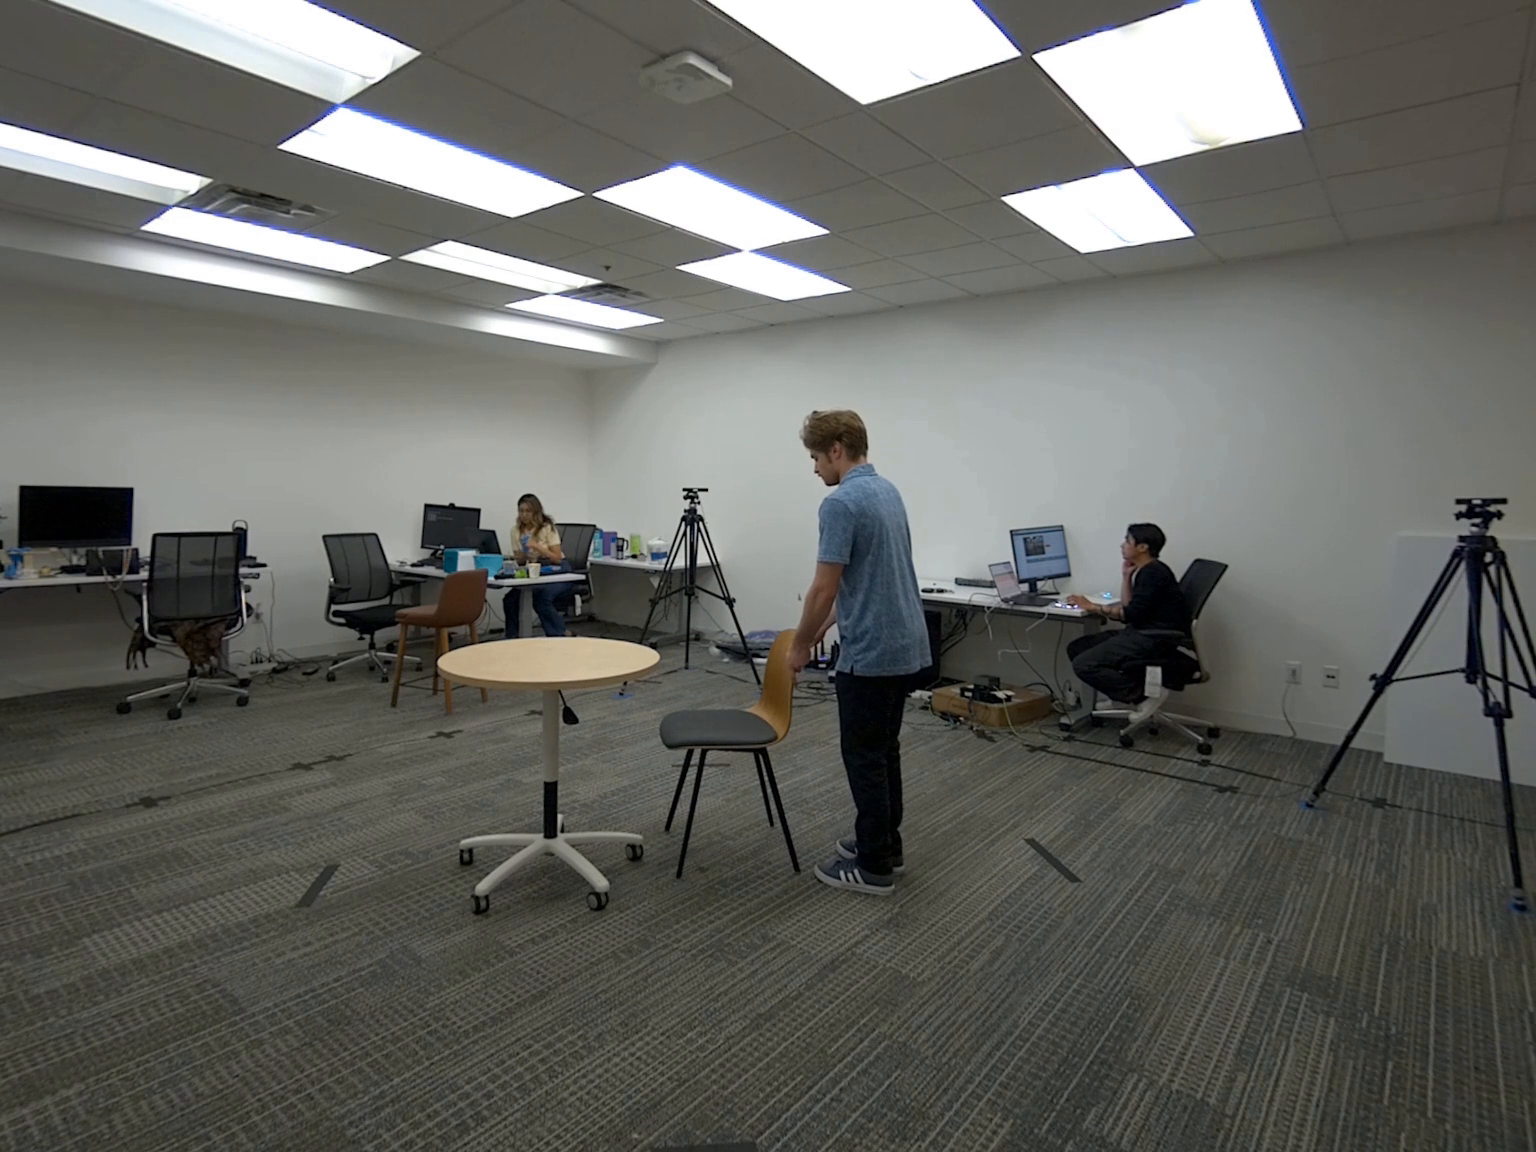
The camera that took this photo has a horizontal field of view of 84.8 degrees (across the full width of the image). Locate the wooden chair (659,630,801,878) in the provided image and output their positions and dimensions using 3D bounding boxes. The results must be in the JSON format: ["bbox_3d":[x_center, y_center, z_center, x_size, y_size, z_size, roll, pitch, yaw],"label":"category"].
[{"bbox_3d":[-0.155,0.630,3.250,0.516,0.875,0.486,4,3,-13],"label":"wooden chair"}]
